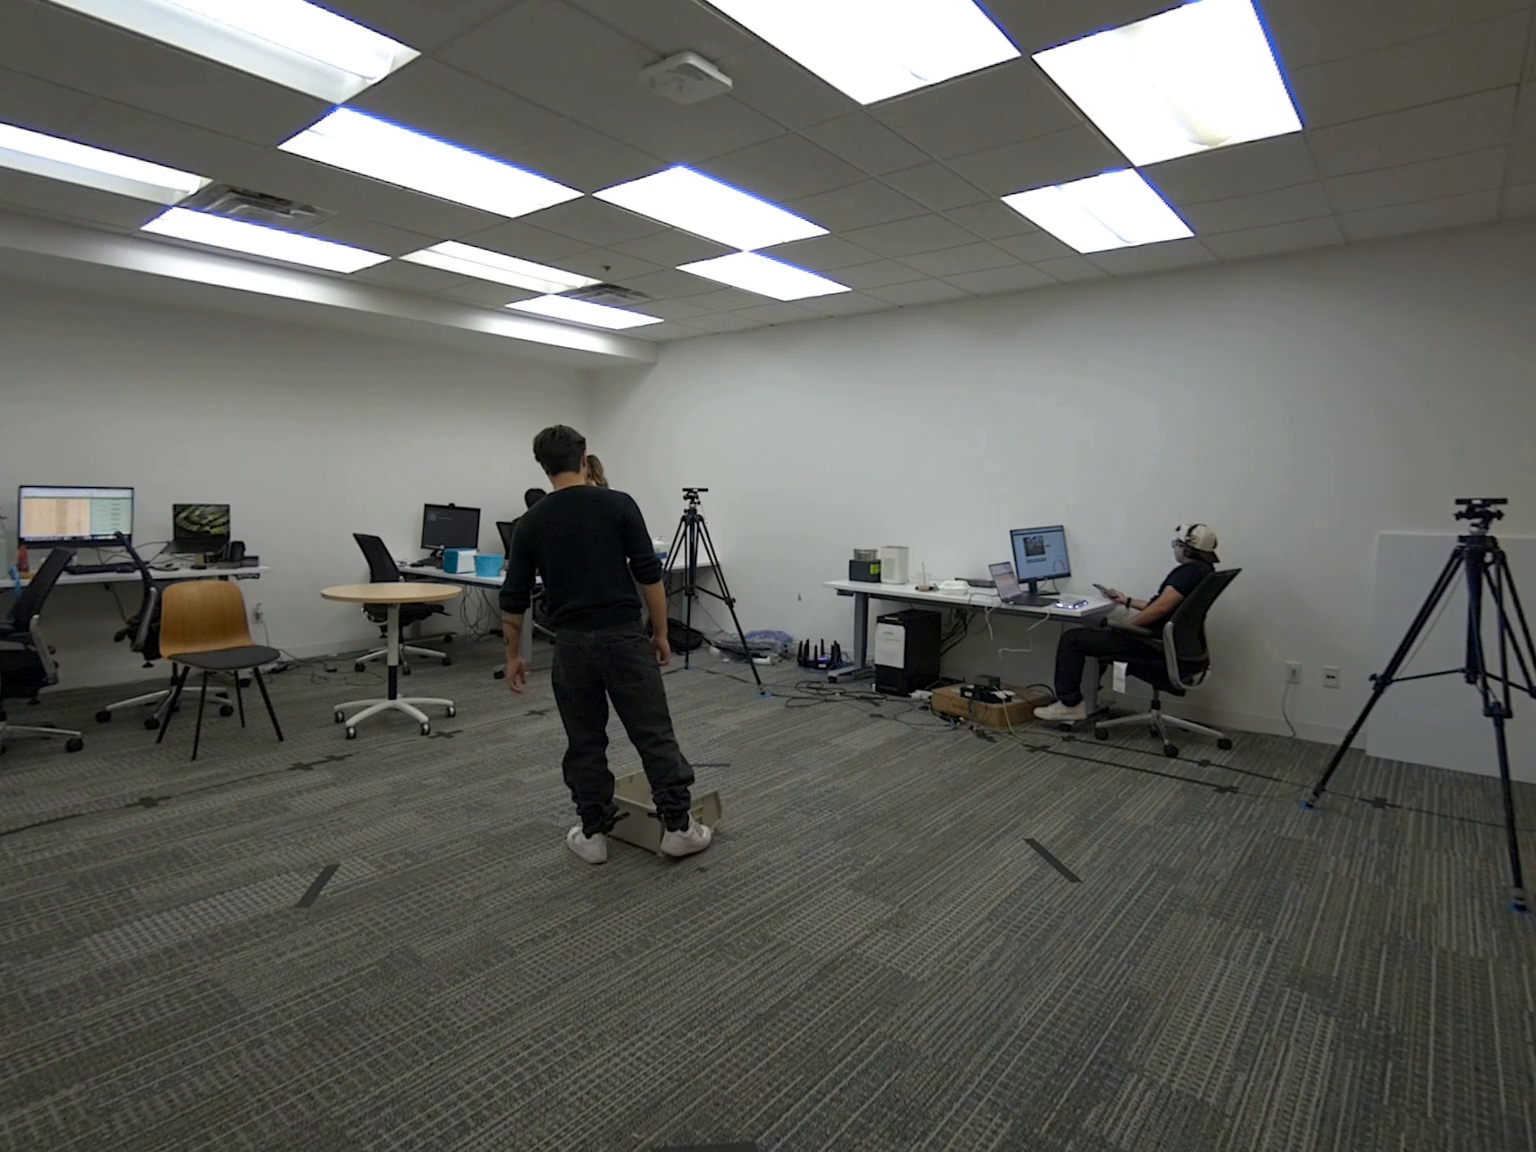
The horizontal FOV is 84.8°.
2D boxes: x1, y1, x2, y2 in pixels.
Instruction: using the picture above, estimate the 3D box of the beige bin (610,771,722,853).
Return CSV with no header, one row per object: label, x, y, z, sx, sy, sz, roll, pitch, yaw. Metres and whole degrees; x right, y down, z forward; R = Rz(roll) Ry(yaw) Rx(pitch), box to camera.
beige bin,-0.473,0.947,3.470,0.436,0.188,0.367,5,8,37
